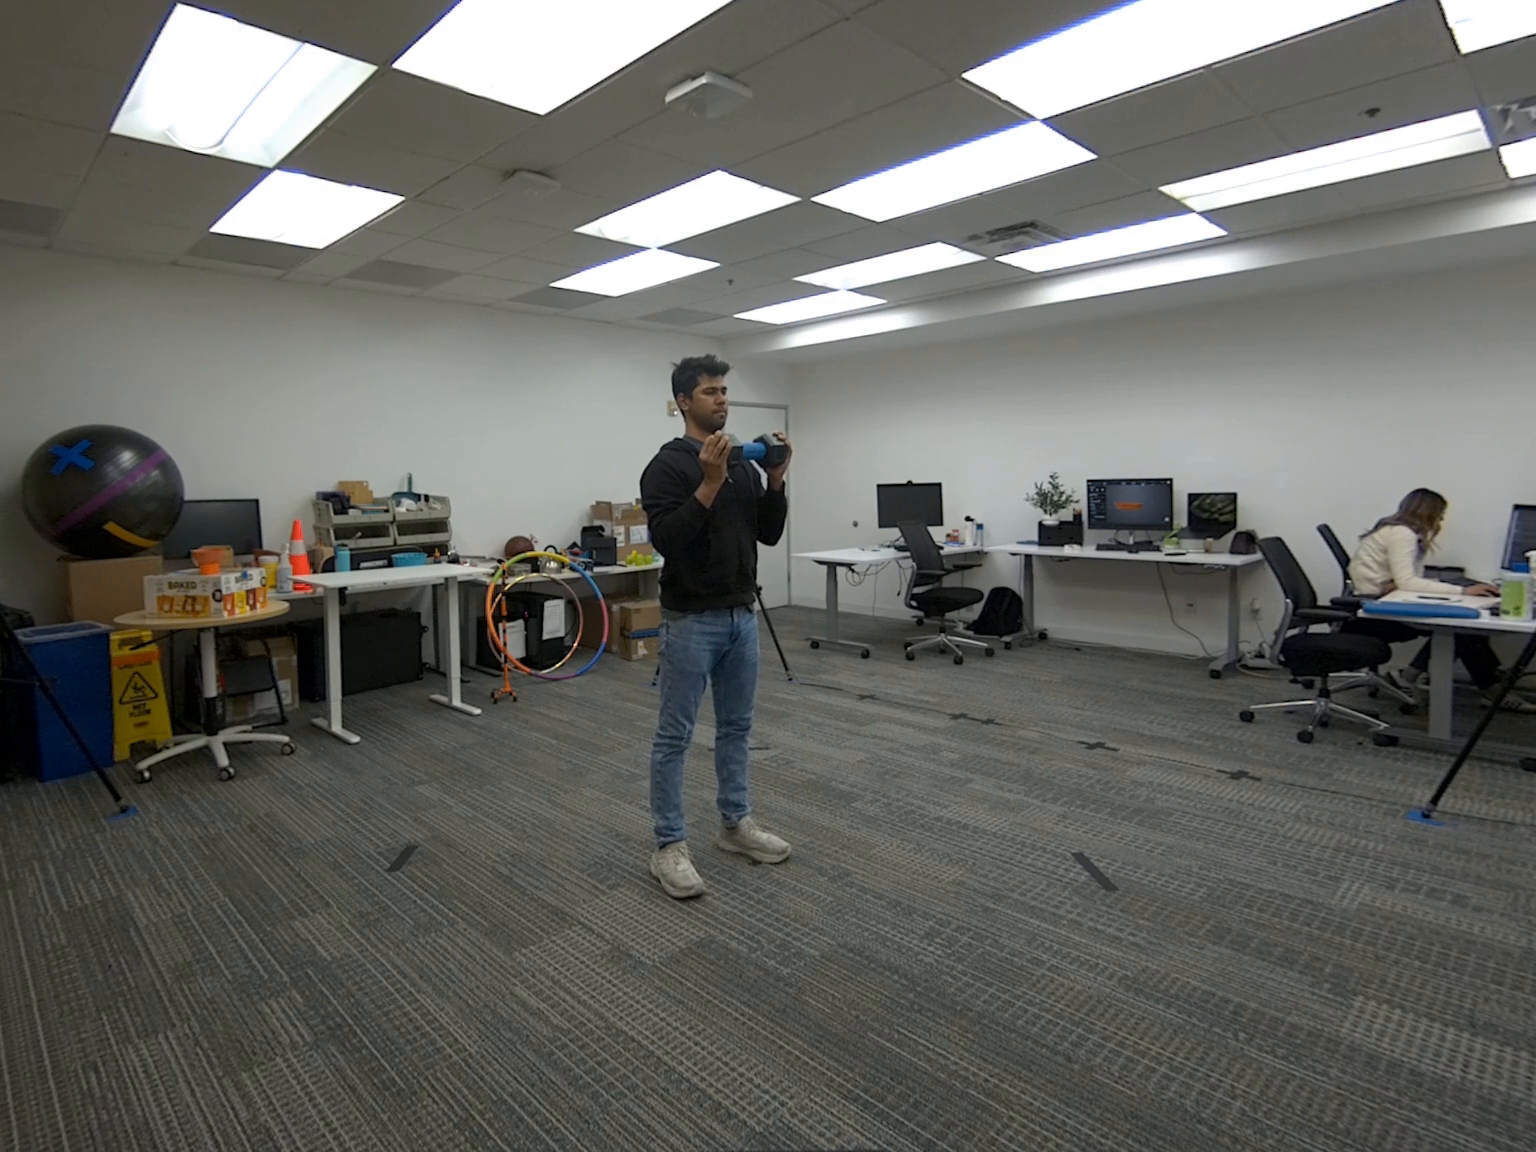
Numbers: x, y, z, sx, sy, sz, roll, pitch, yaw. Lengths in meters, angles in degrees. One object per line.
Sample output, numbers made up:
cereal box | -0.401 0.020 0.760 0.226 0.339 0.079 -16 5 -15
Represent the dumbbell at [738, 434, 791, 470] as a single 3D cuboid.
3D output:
dumbbell | -0.078 -0.418 2.883 0.113 0.121 0.286 19 20 41
